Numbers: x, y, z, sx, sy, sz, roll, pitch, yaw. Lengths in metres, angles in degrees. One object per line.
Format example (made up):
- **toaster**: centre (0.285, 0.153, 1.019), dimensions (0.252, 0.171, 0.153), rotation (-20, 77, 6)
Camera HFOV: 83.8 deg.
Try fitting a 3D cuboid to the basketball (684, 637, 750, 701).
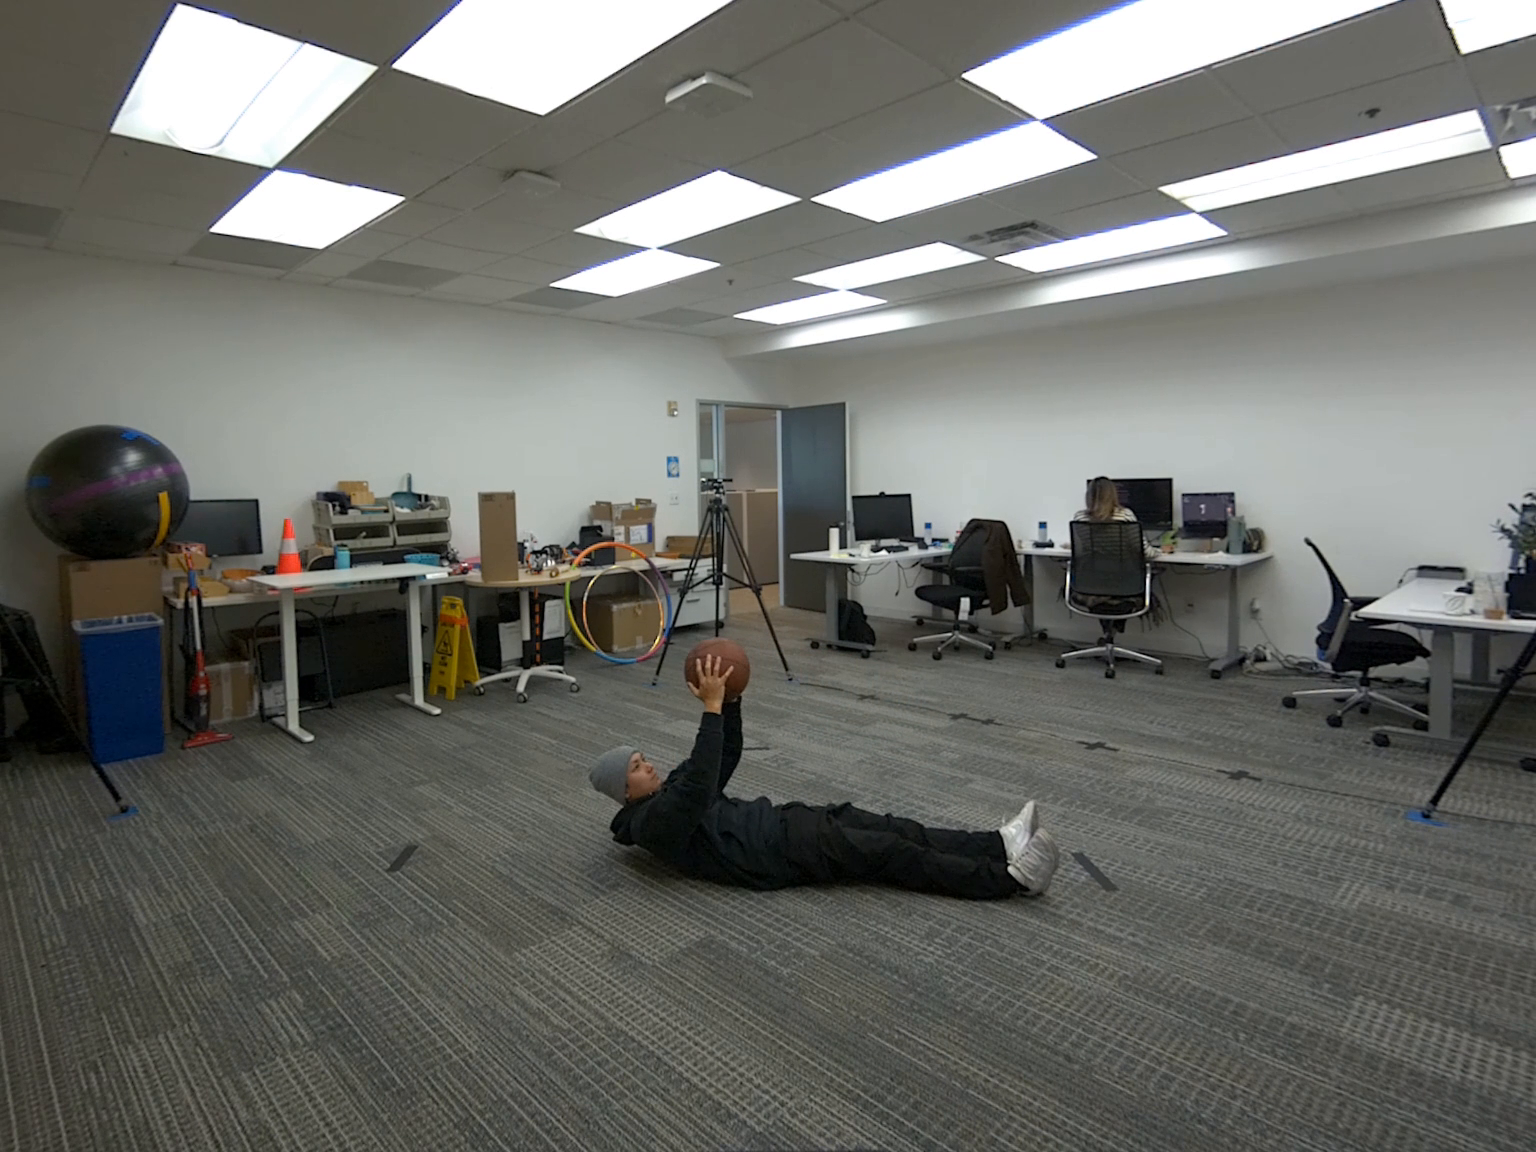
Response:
- **basketball**: centre (-0.184, 0.341, 3.087), dimensions (0.236, 0.235, 0.237), rotation (-1, 5, -2)
